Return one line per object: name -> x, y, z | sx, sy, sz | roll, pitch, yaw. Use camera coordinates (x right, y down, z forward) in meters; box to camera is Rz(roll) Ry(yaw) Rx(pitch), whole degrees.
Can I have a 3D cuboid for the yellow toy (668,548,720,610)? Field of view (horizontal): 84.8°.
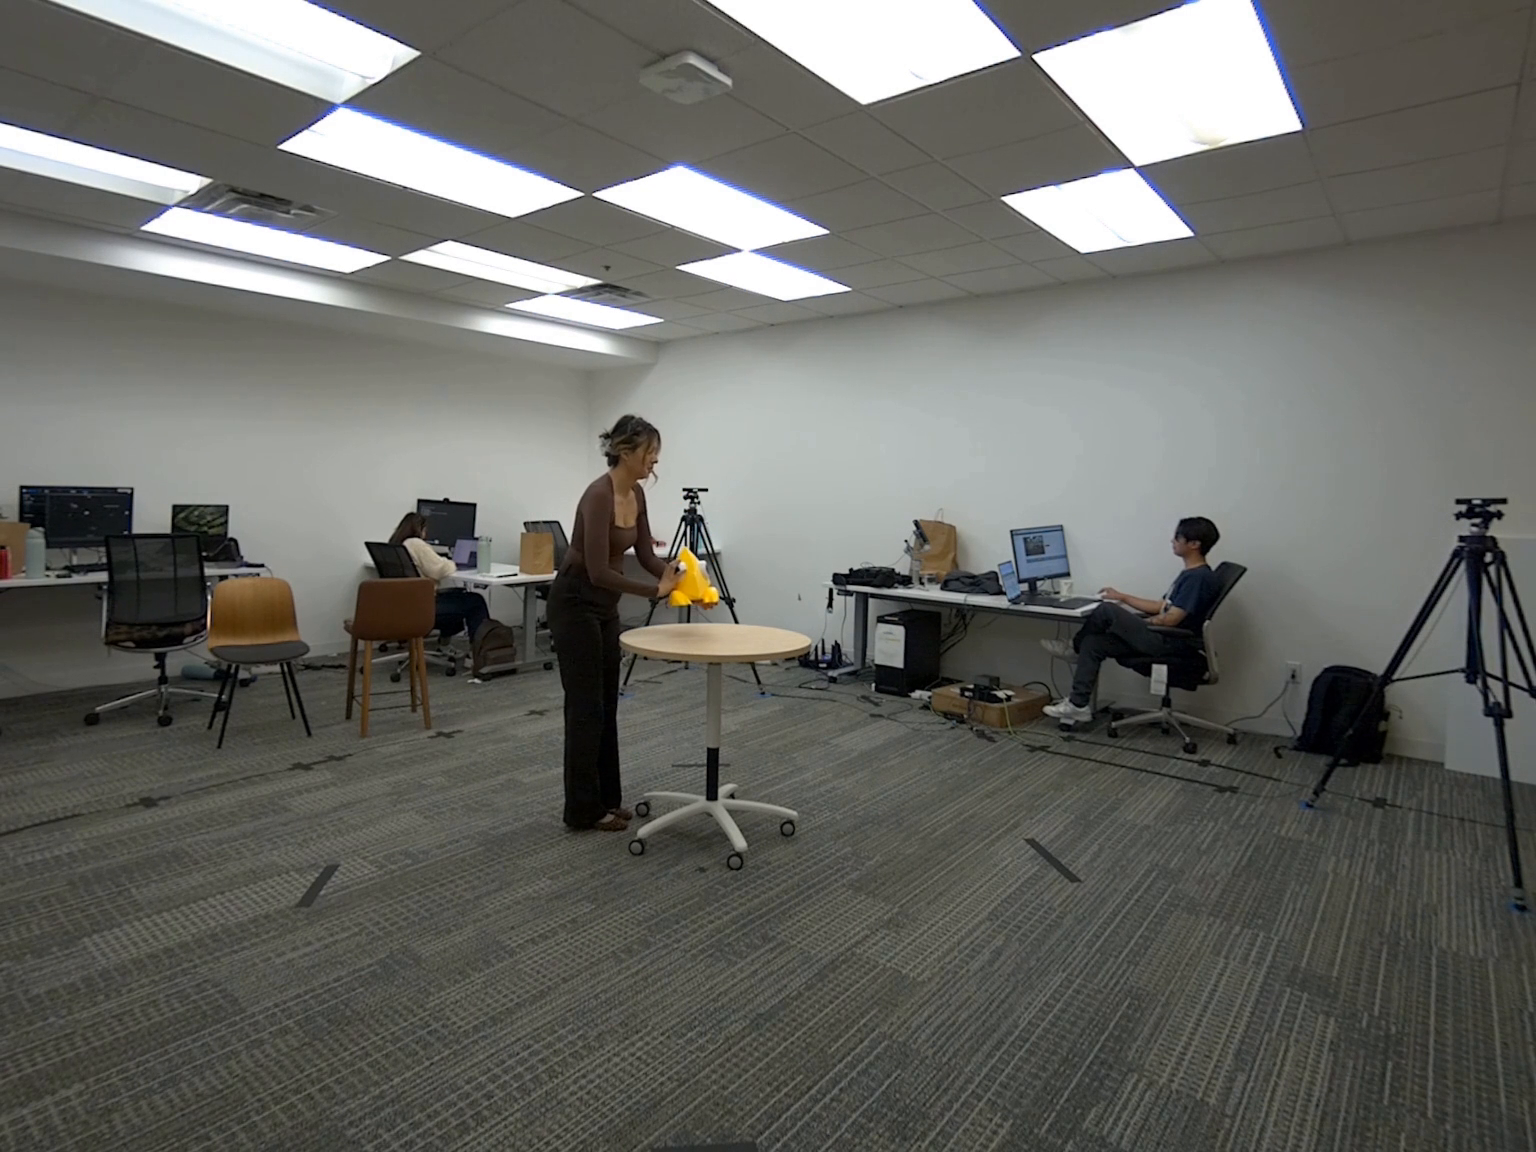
yellow toy -> -0.319, -0.010, 3.427 | 0.201, 0.231, 0.197 | -4, 0, -22
